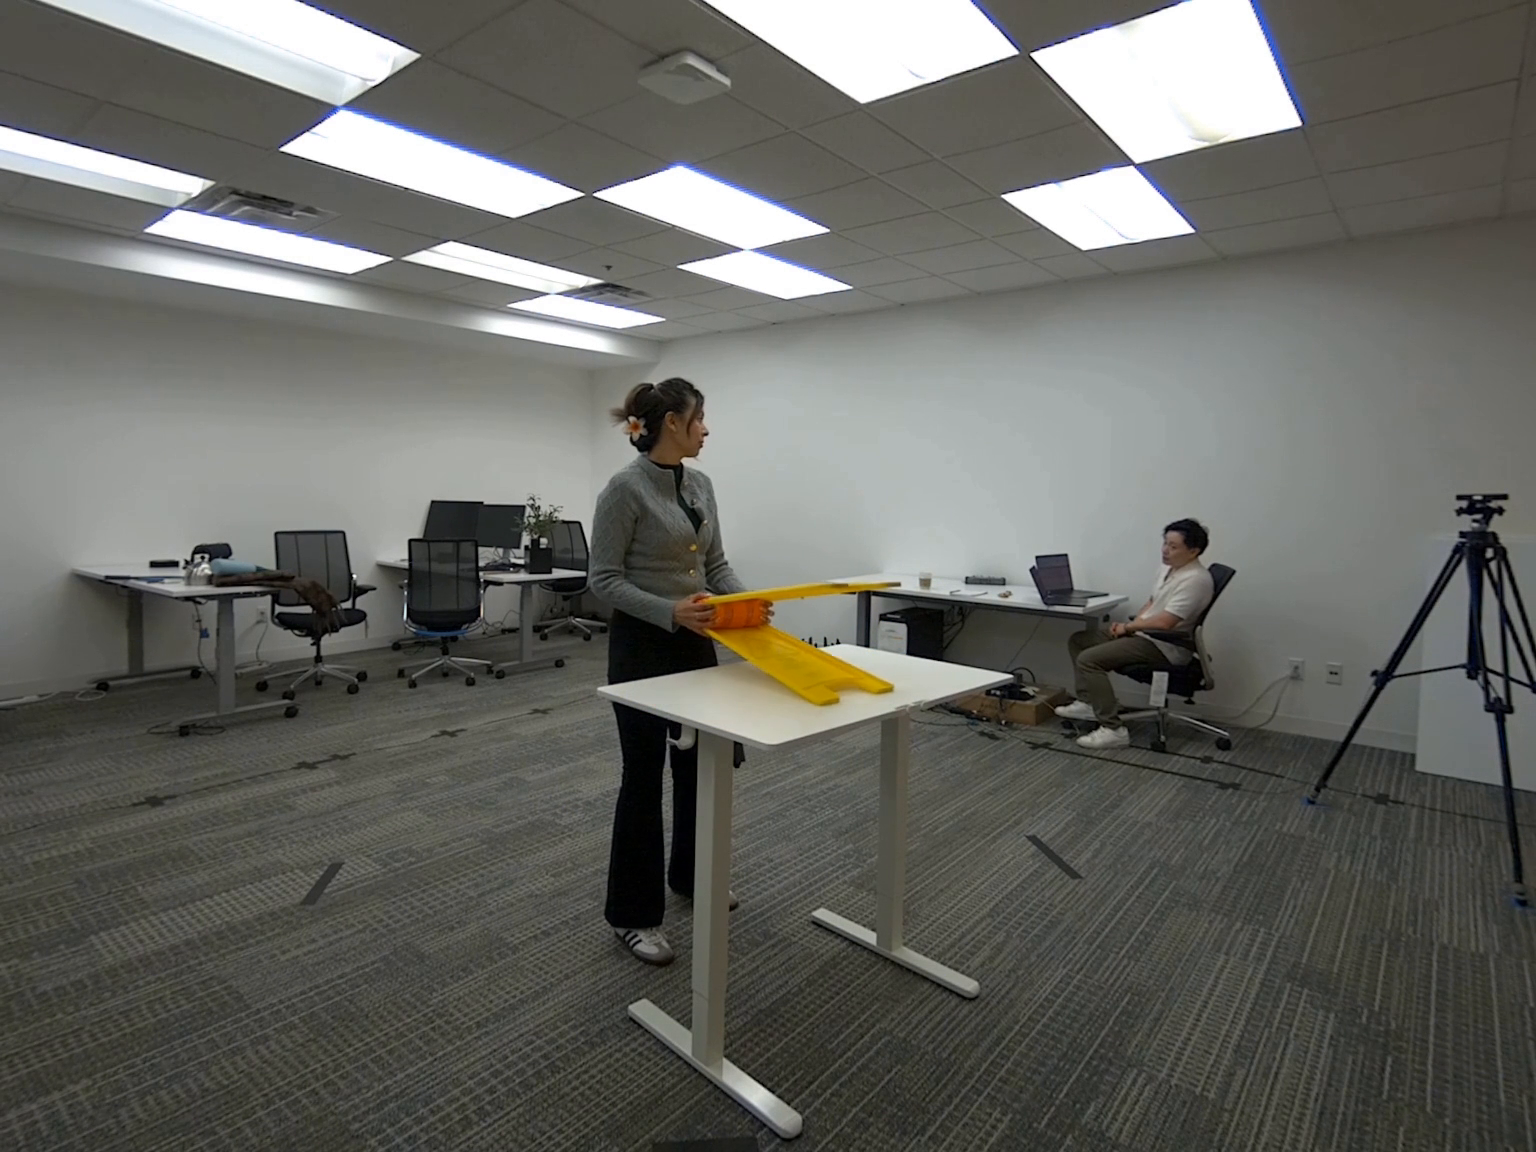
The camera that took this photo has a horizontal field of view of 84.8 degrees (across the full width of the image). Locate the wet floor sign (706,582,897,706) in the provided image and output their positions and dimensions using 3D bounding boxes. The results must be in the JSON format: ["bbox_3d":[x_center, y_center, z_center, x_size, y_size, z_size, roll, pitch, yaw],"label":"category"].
[{"bbox_3d":[0.003,0.123,2.318,0.273,0.289,0.669,0,6,-43],"label":"wet floor sign"}]
